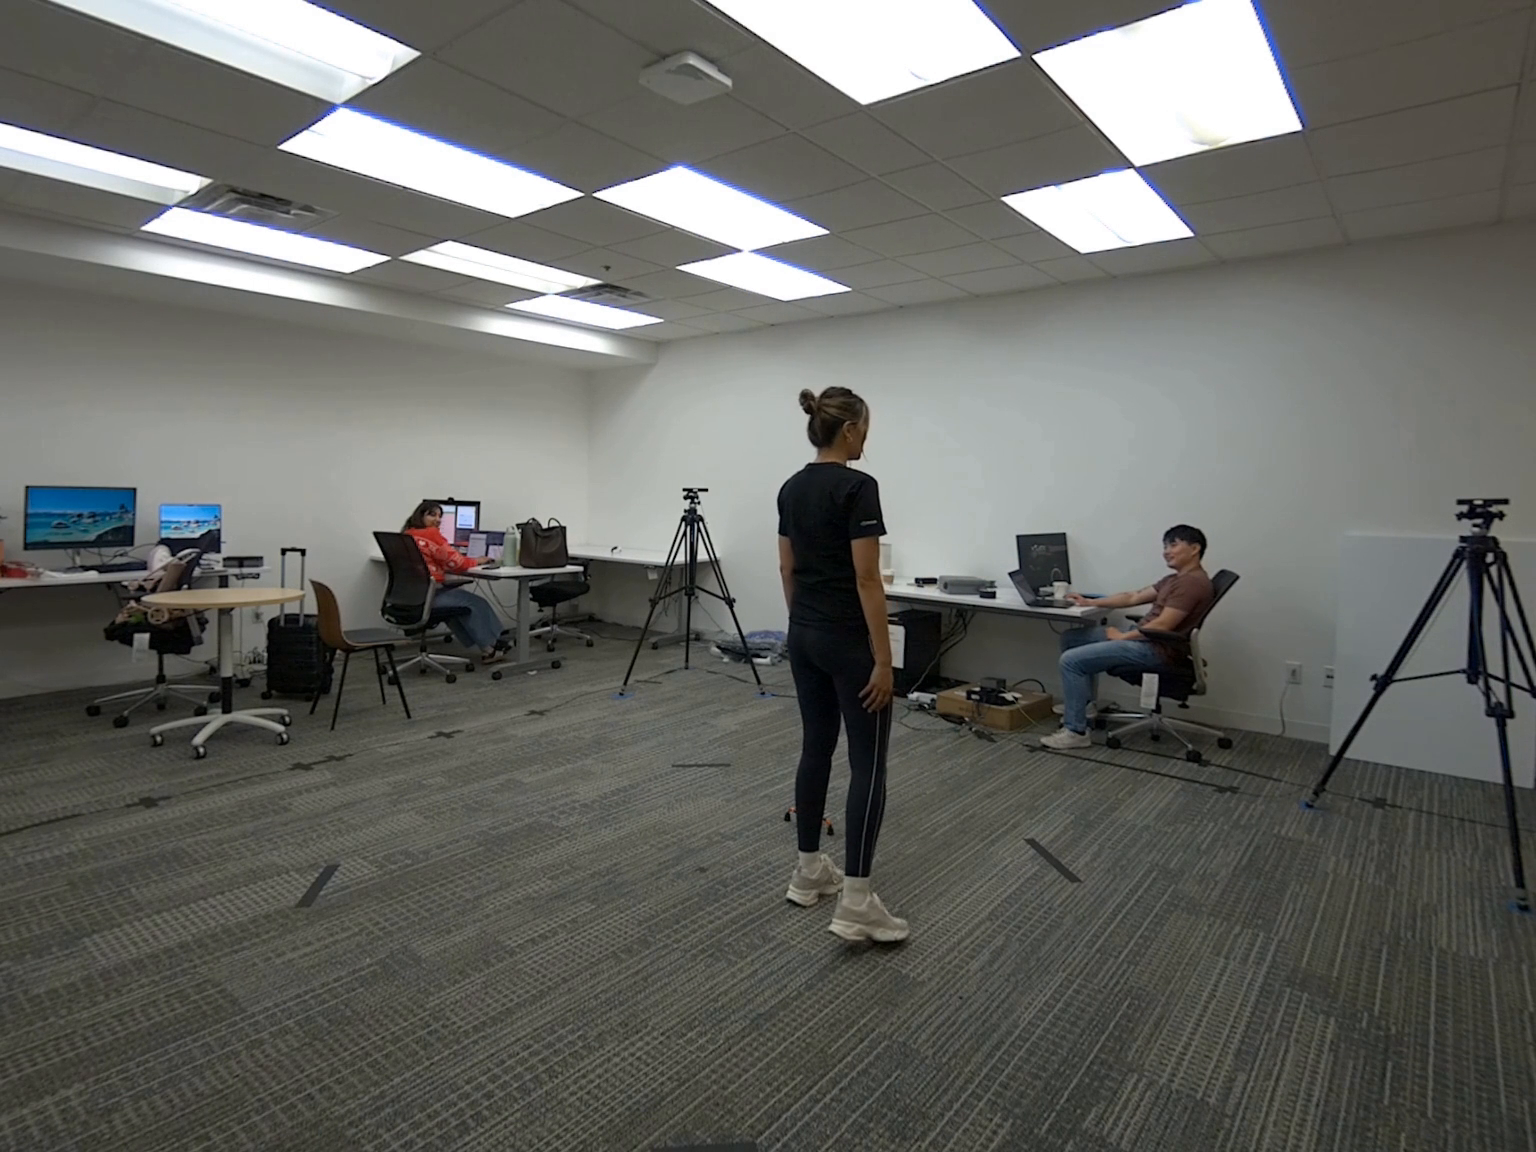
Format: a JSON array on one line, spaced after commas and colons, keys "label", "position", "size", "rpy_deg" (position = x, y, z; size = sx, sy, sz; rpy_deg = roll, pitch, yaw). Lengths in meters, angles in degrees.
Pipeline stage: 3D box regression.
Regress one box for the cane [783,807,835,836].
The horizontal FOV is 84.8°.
[{"label": "cane", "position": [0.169, 0.578, 3.500], "size": [0.149, 0.905, 0.211], "rpy_deg": [0, 3, -18]}]
